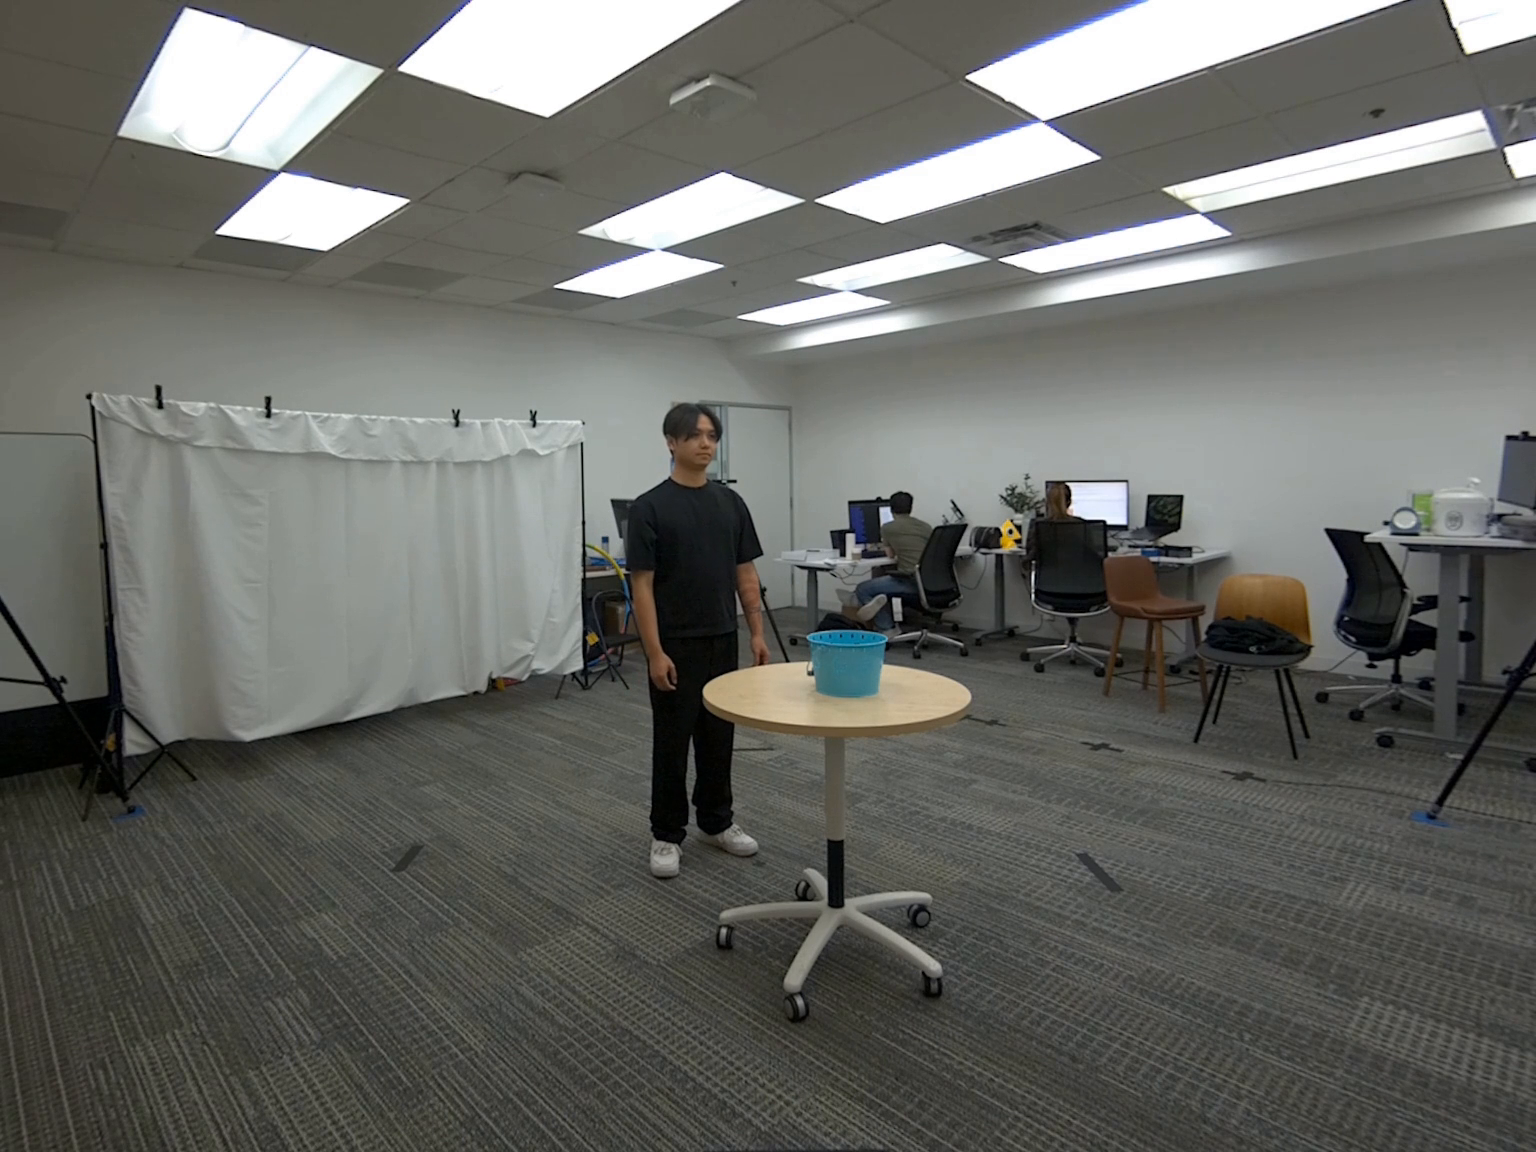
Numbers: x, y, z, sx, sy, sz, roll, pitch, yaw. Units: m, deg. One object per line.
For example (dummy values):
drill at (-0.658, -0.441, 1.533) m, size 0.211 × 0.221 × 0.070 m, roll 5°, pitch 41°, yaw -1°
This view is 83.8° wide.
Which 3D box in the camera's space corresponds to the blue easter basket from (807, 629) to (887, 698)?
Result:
blue easter basket at (0.239, 0.258, 2.472) m, size 0.243 × 0.155 × 0.245 m, roll -1°, pitch 6°, yaw -2°
